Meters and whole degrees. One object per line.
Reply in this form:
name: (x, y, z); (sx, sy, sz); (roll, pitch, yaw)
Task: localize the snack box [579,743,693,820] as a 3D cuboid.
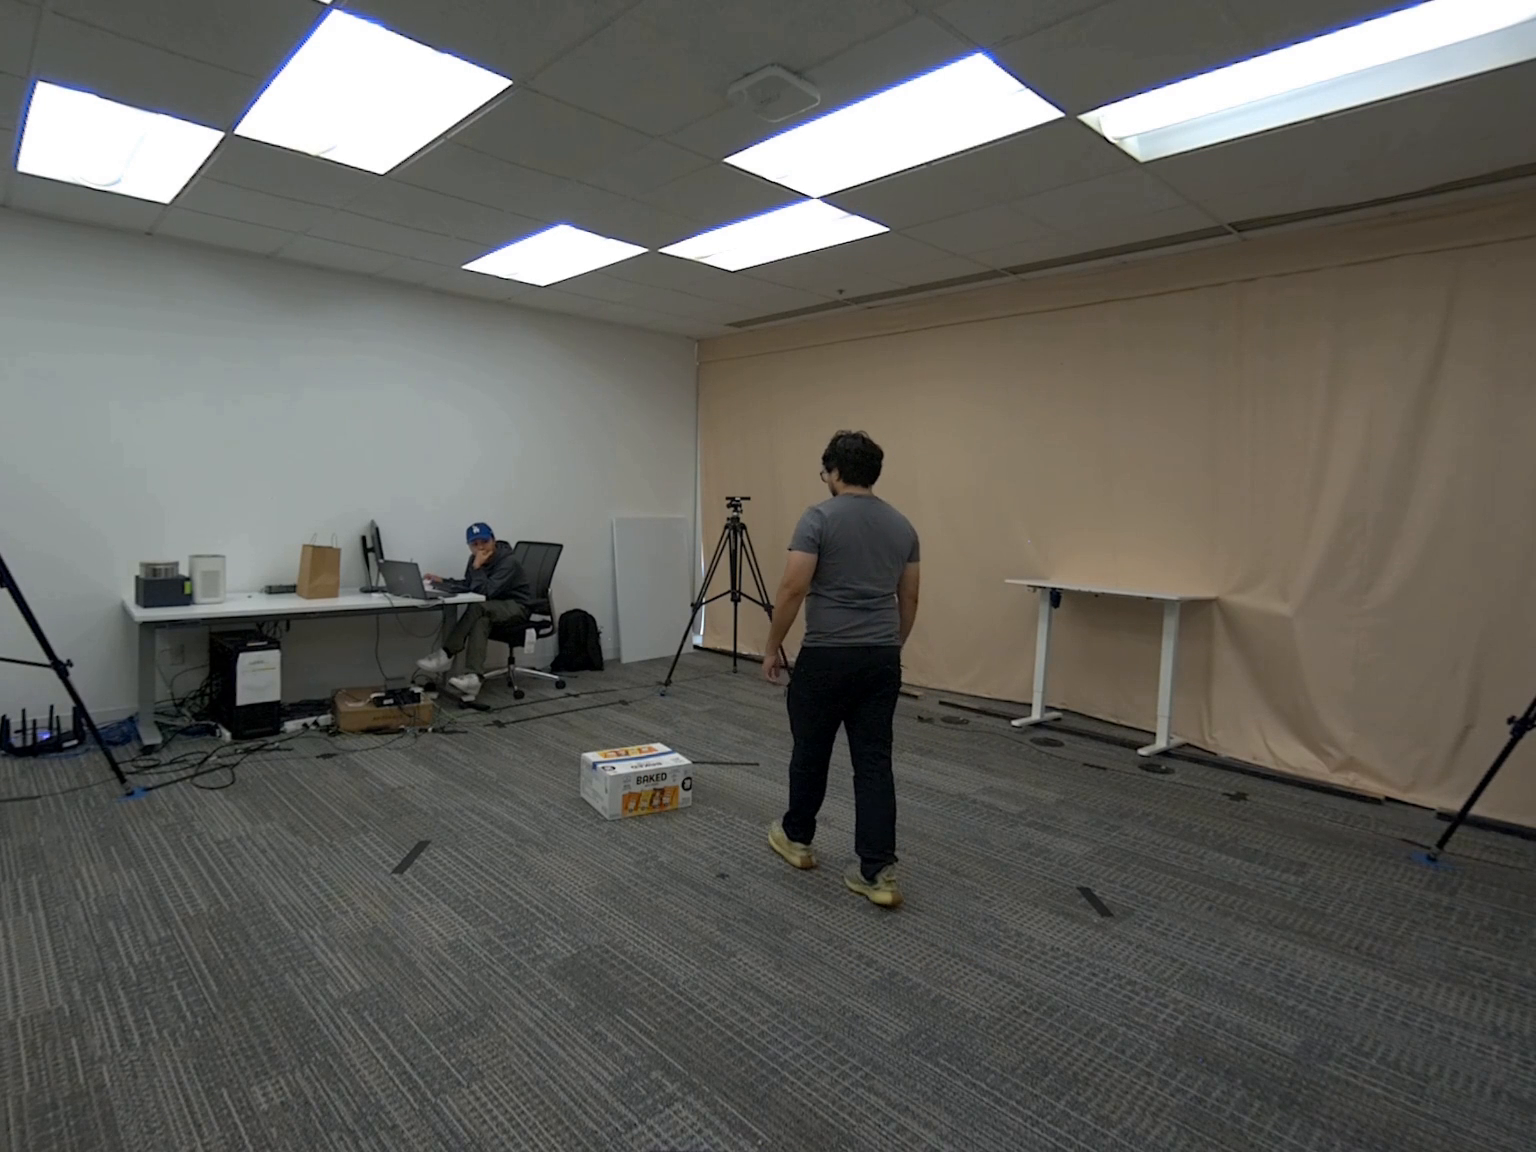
snack box: (-0.614, 0.930, 3.841); (0.396, 0.205, 0.348); (-1, 5, -32)
